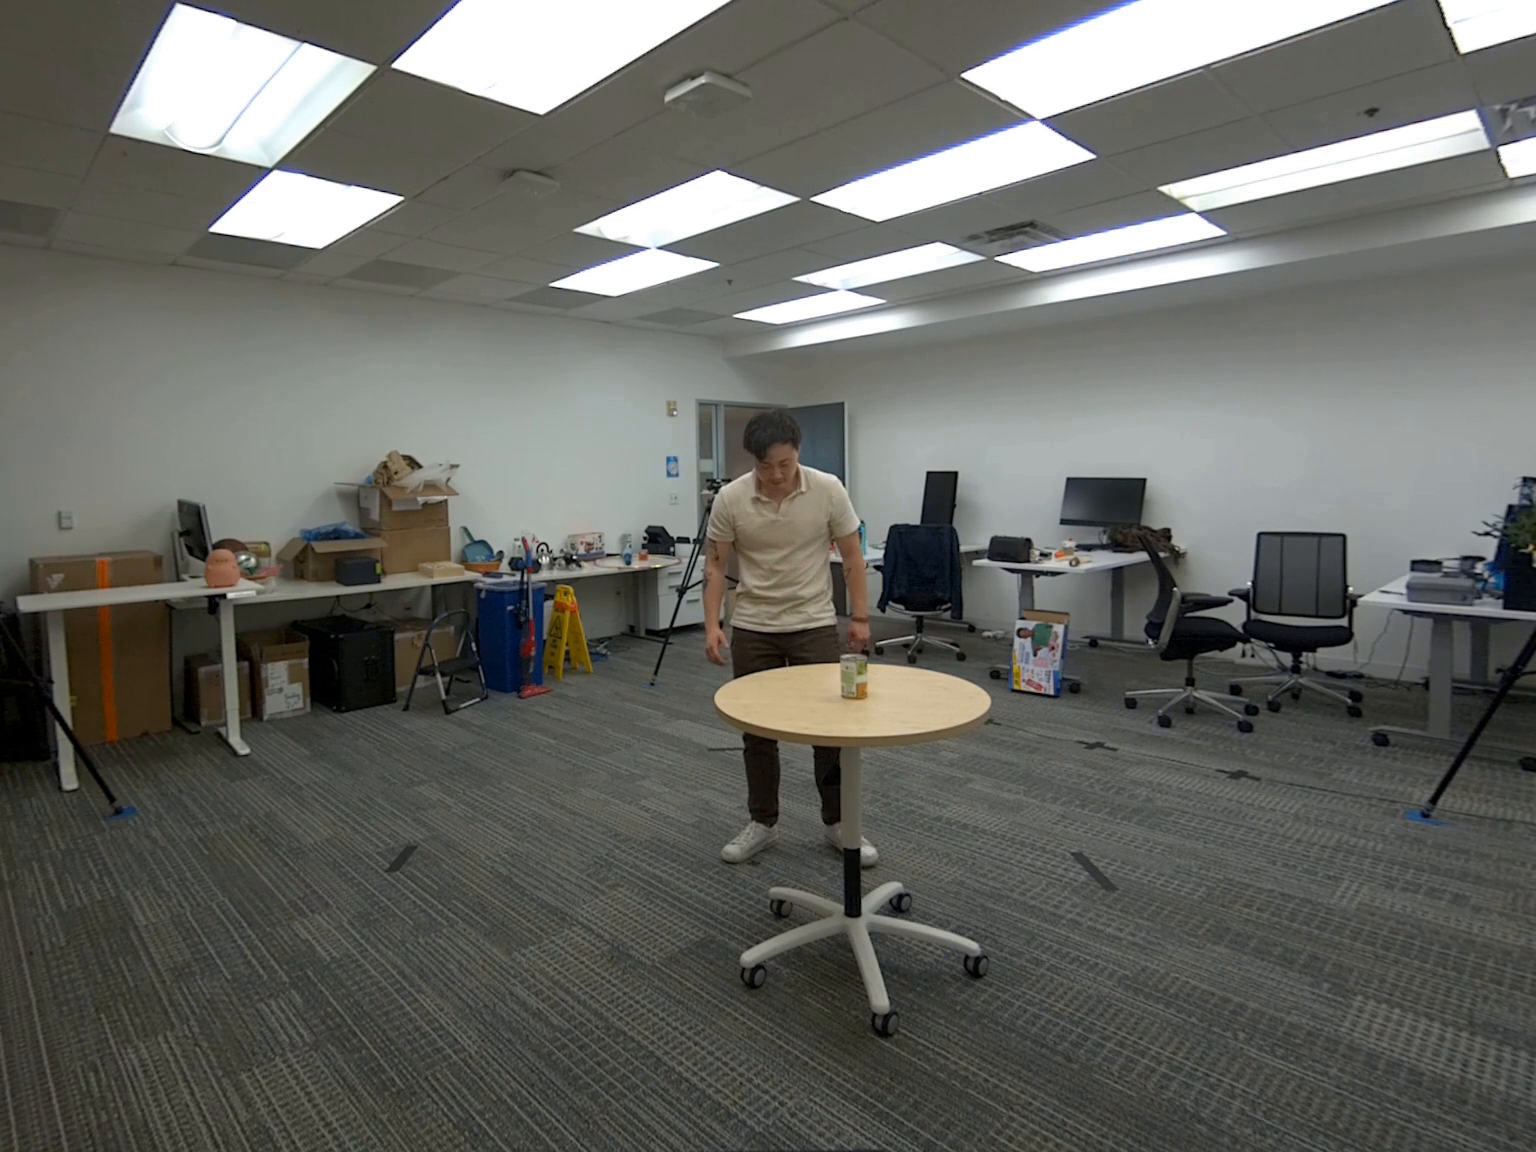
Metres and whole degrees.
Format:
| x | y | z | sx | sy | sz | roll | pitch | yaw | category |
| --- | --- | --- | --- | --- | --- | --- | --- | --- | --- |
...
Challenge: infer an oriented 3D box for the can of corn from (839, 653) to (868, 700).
| x | y | z | sx | sy | sz | roll | pitch | yaw | category |
| --- | --- | --- | --- | --- | --- | --- | --- | --- | --- |
| 0.245 | 0.282 | 2.389 | 0.074 | 0.110 | 0.075 | -4 | 7 | -1 | can of corn |
